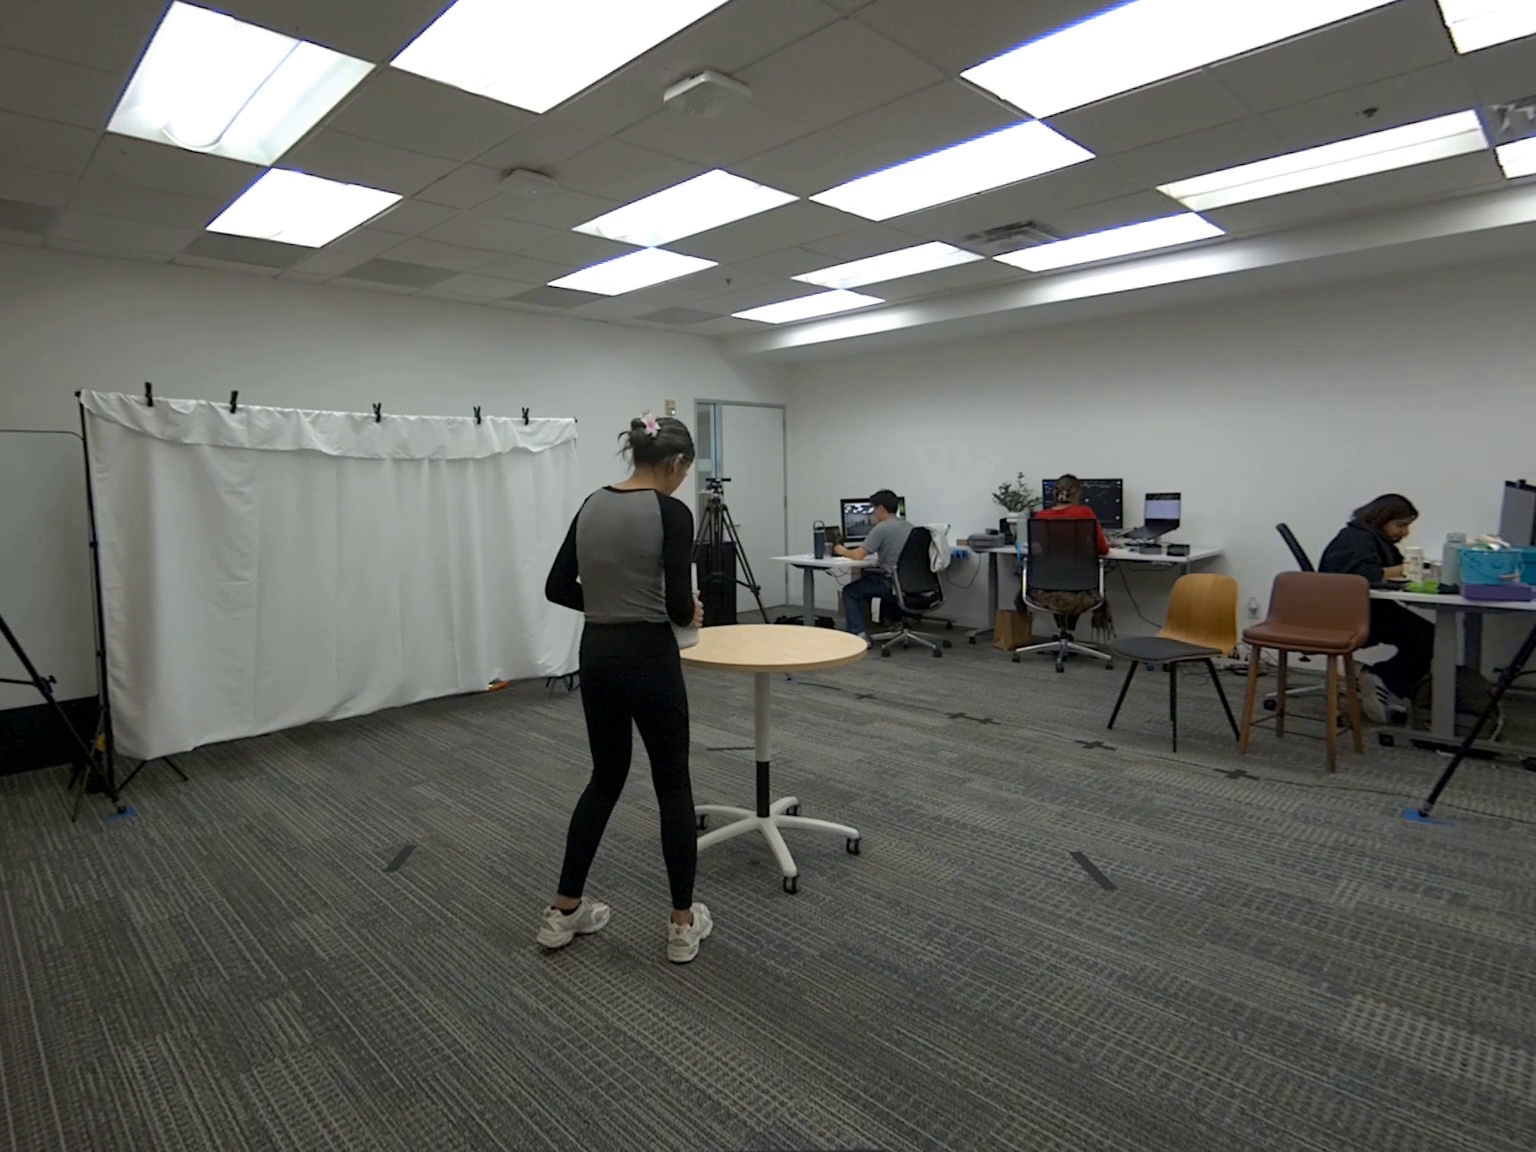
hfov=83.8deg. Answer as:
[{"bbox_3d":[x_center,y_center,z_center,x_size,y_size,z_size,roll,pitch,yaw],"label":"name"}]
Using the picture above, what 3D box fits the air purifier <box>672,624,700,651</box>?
[{"bbox_3d":[-0.319,0.101,2.706,0.175,0.265,0.168,-1,2,29],"label":"air purifier"}]
